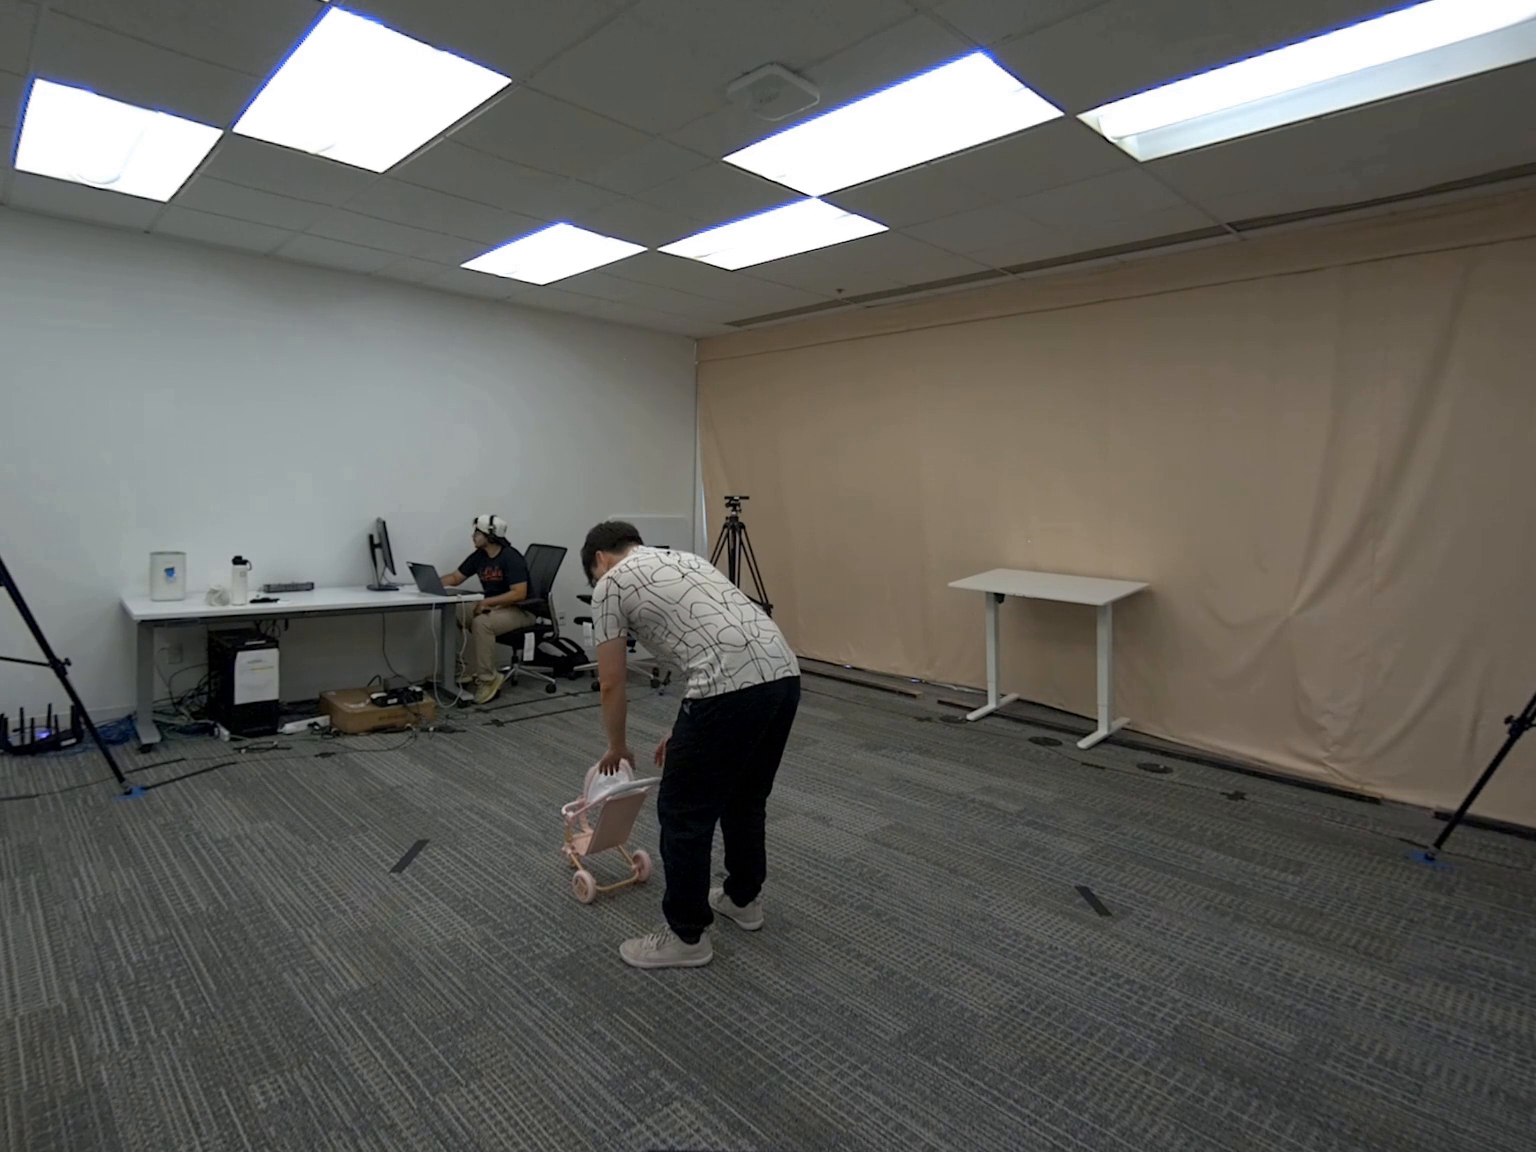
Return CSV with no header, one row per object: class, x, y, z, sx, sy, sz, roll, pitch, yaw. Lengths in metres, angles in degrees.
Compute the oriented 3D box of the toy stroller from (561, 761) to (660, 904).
toy stroller,-0.585,0.878,2.993,0.275,0.530,0.352,-1,21,-41
